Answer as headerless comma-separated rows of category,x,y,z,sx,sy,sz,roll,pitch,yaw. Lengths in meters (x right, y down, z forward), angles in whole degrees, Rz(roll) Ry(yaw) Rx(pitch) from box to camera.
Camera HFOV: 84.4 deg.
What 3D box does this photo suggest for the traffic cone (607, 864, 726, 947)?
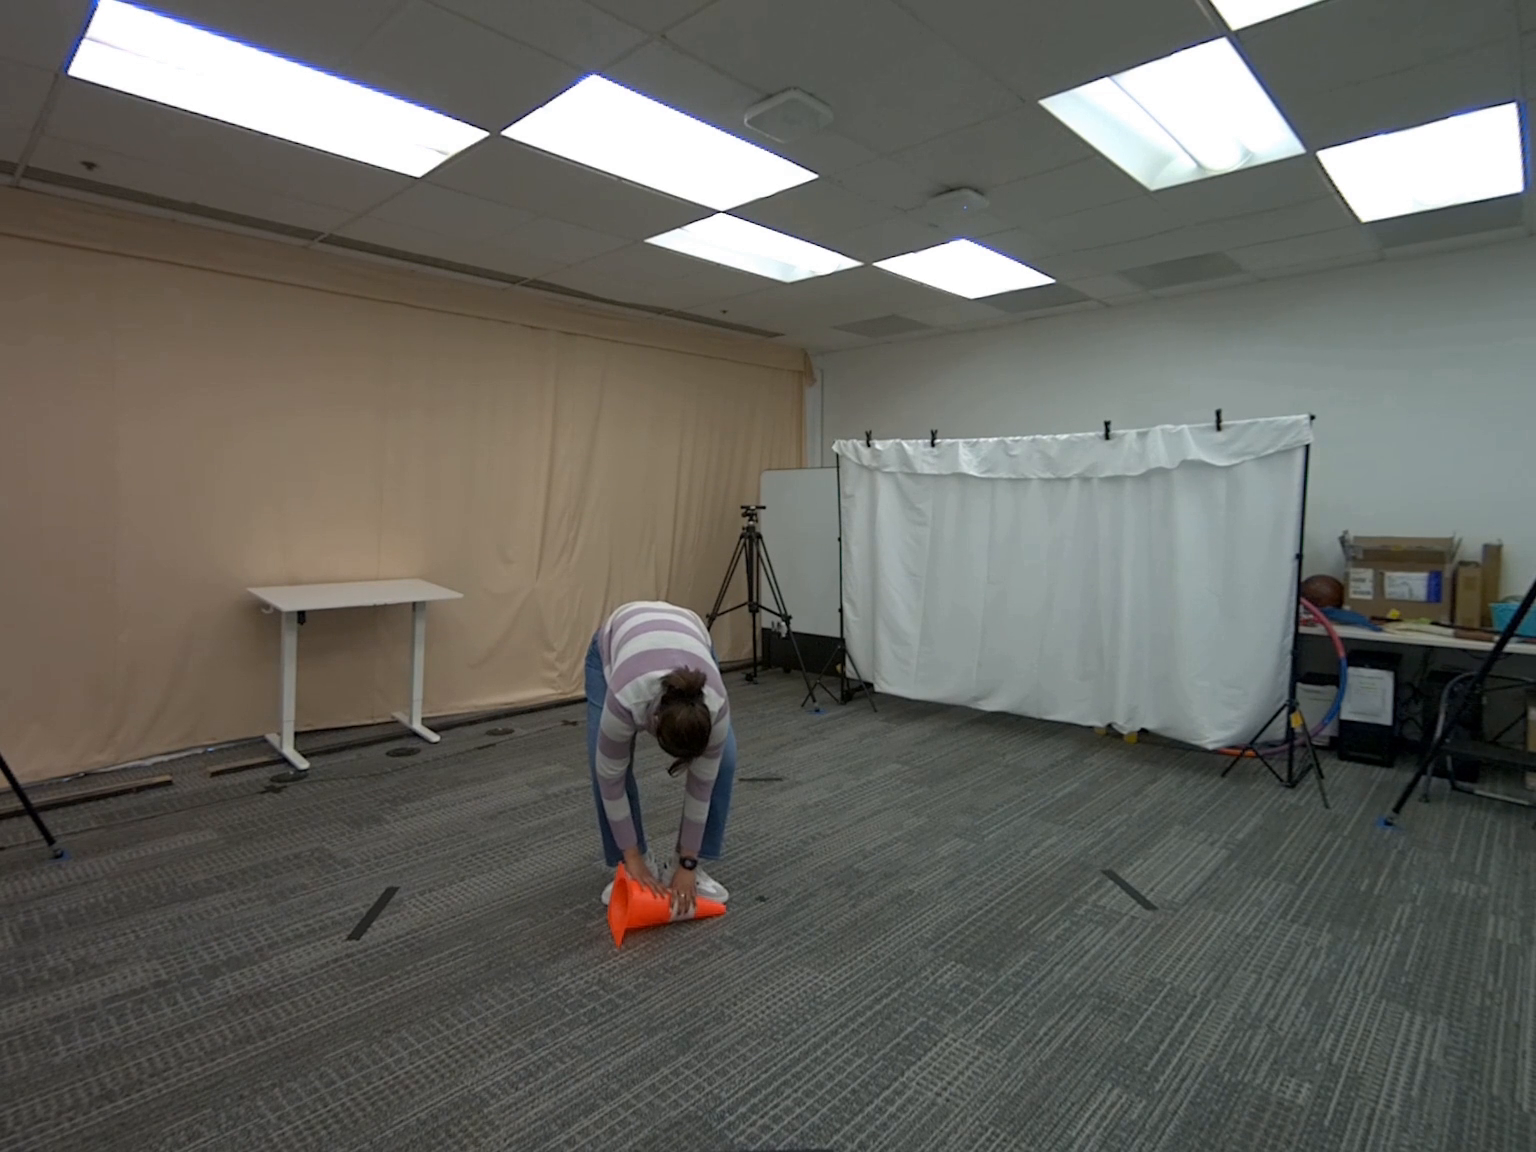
traffic cone,-0.312,1.105,2.804,0.374,0.205,0.208,14,3,-22
